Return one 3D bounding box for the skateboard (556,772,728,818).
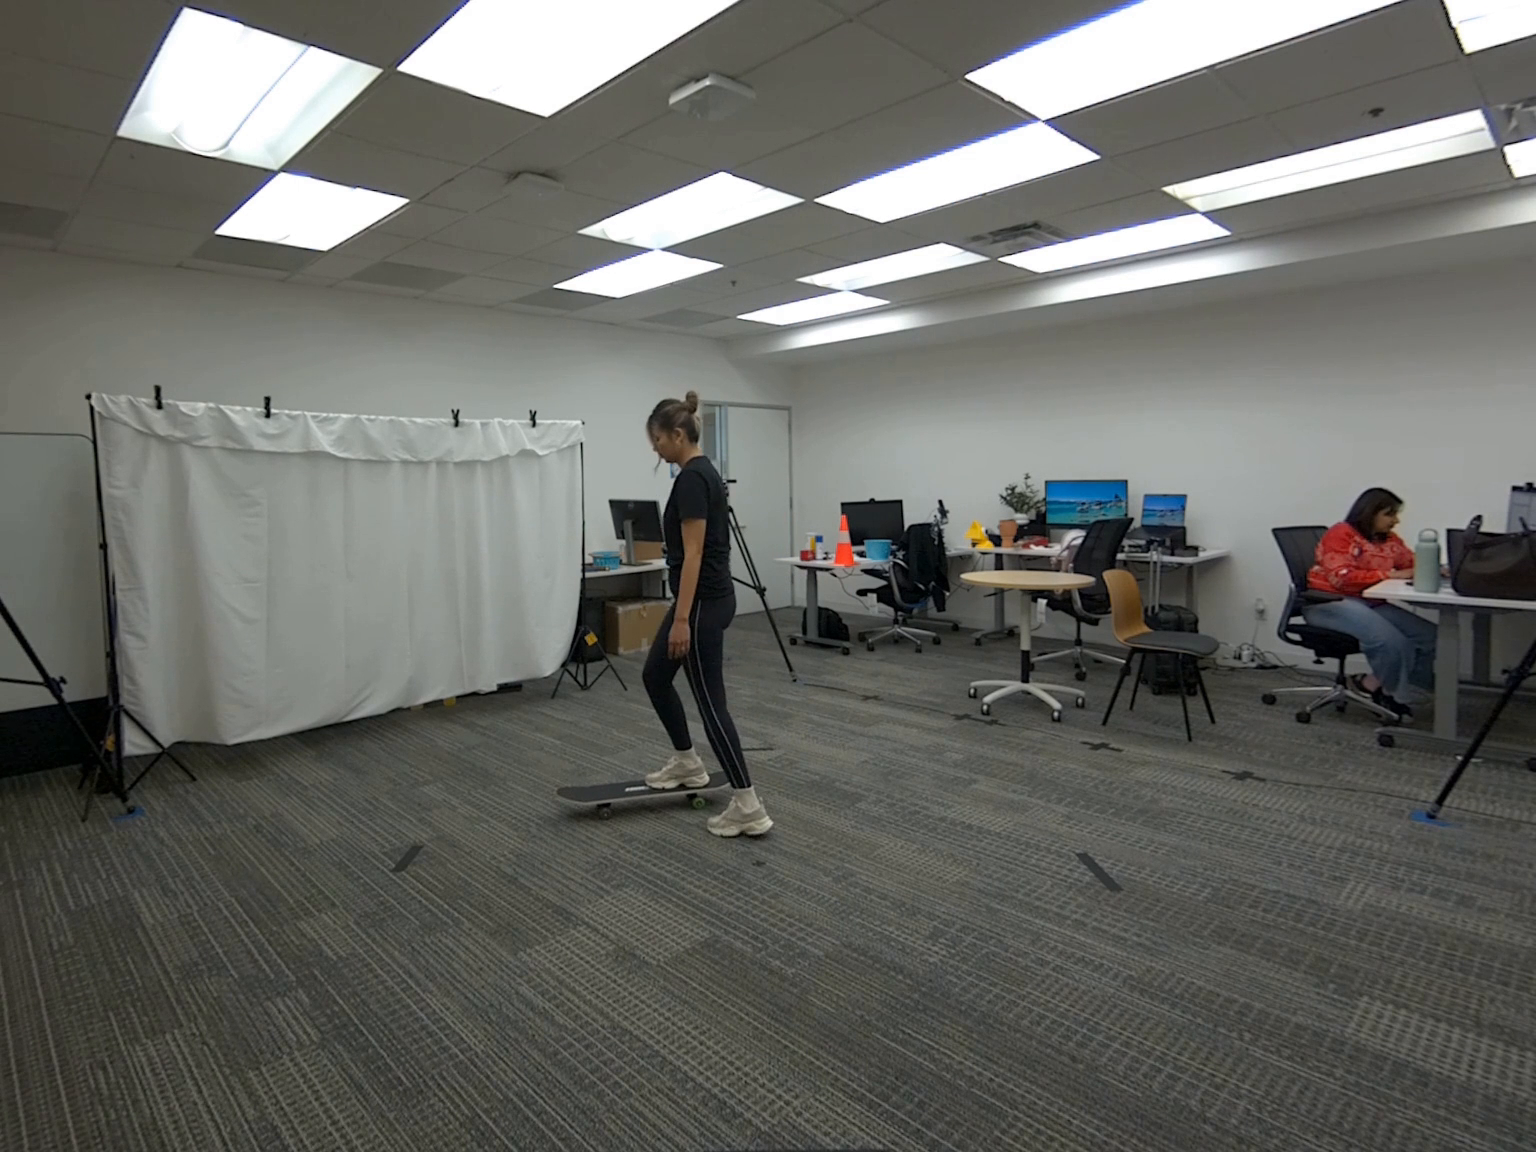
[{"bbox_3d":[-0.517,0.942,3.672,0.776,0.110,0.196,-3,5,-13],"label":"skateboard"}]
